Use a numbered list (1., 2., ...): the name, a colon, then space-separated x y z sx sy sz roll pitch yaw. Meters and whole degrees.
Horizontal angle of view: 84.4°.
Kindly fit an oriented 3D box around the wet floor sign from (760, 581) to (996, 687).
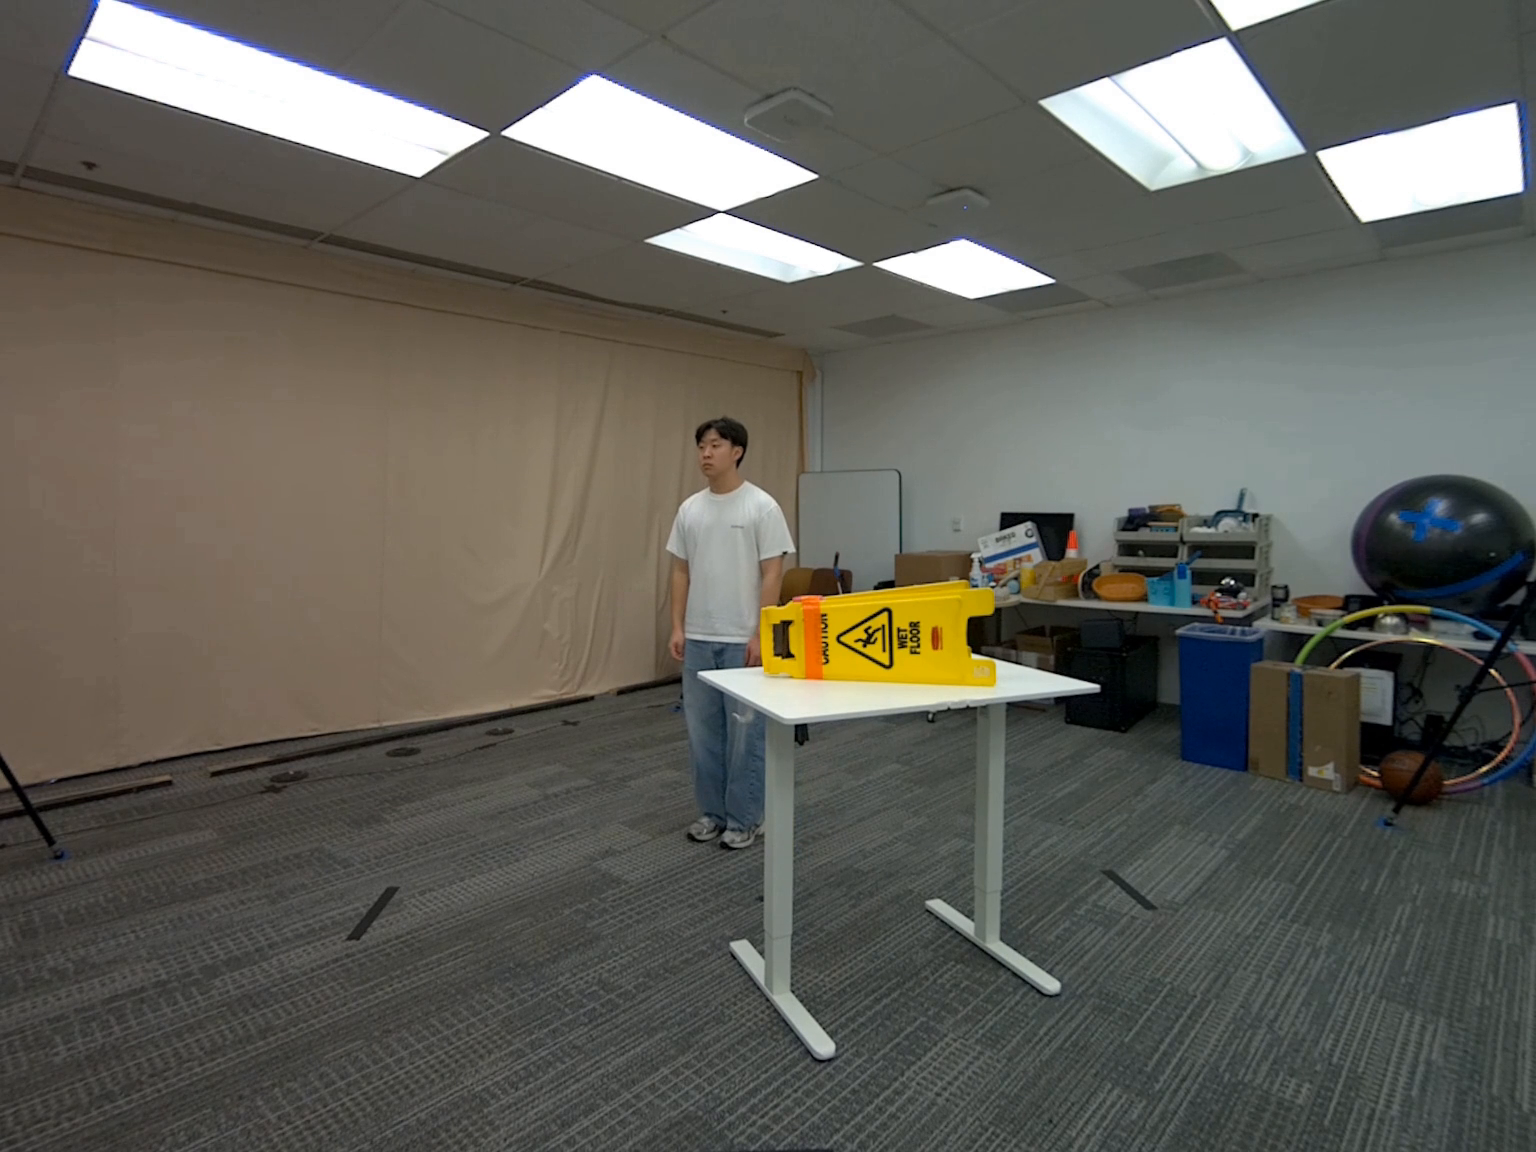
1. wet floor sign: 0.313 0.178 2.474 0.647 0.282 0.290 -3 3 0
